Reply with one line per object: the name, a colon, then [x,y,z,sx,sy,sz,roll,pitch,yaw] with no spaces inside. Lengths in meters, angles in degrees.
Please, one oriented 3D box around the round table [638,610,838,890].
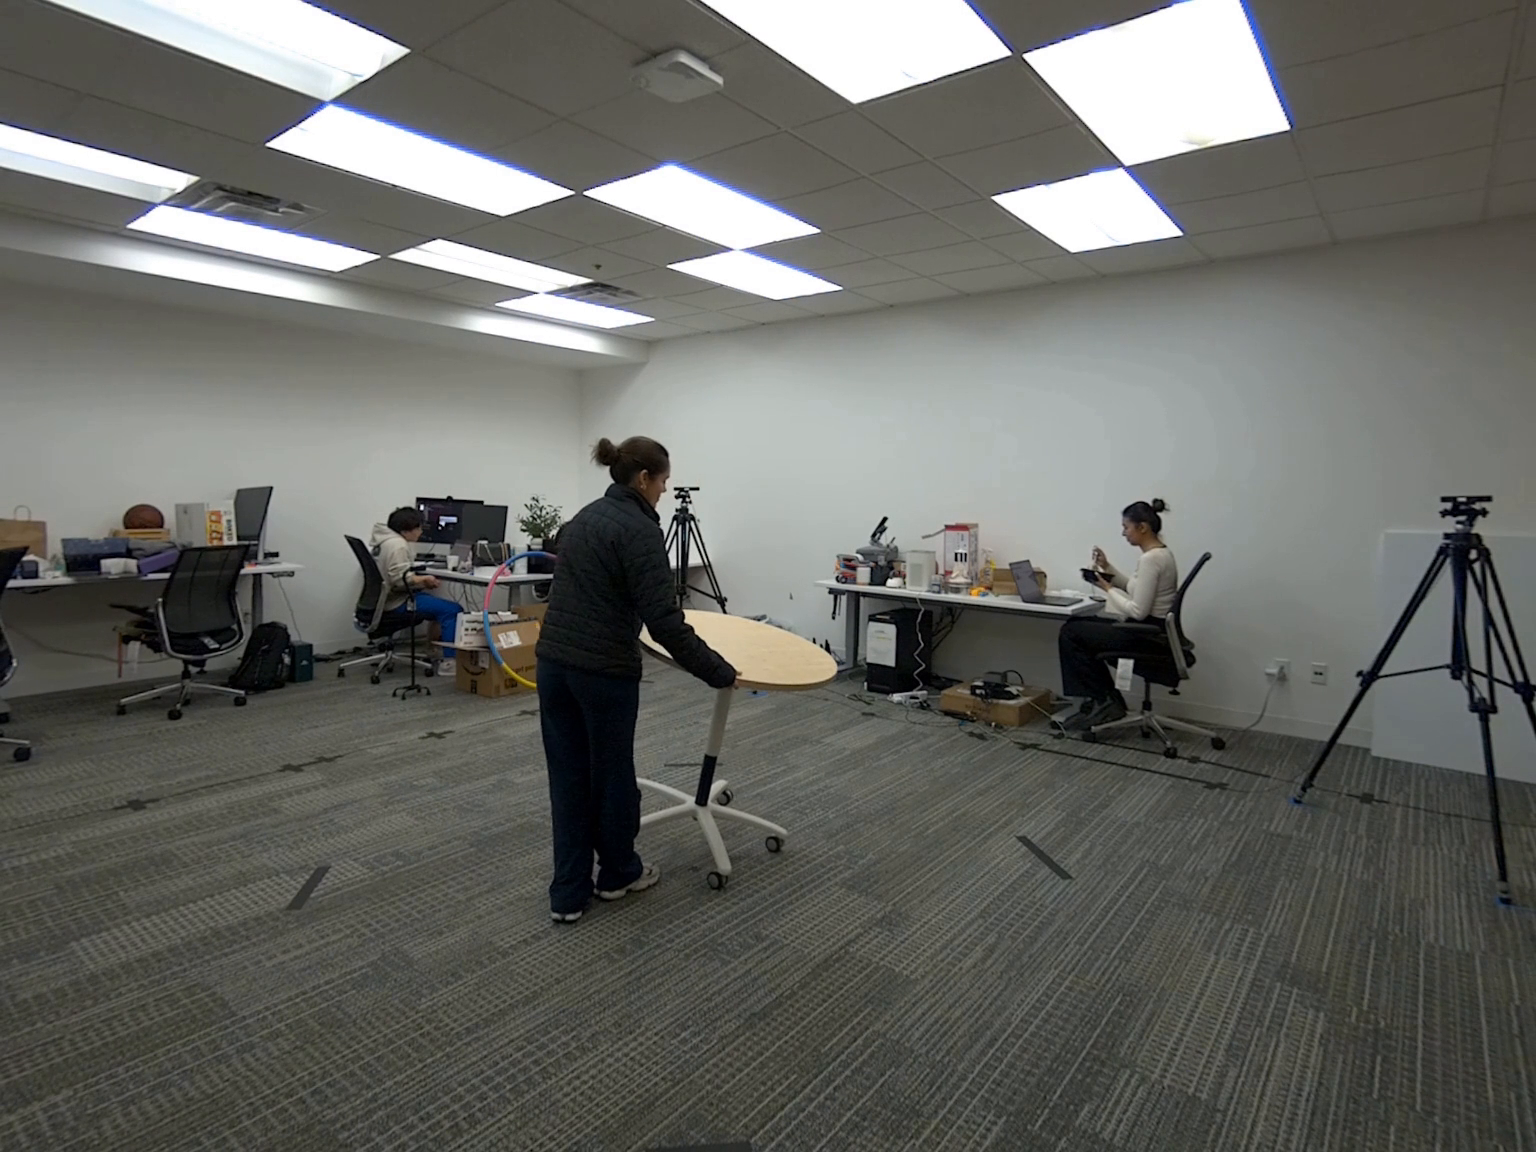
round table: [-0.202,0.616,3.210,0.782,0.781,0.794,11,10,-4]
